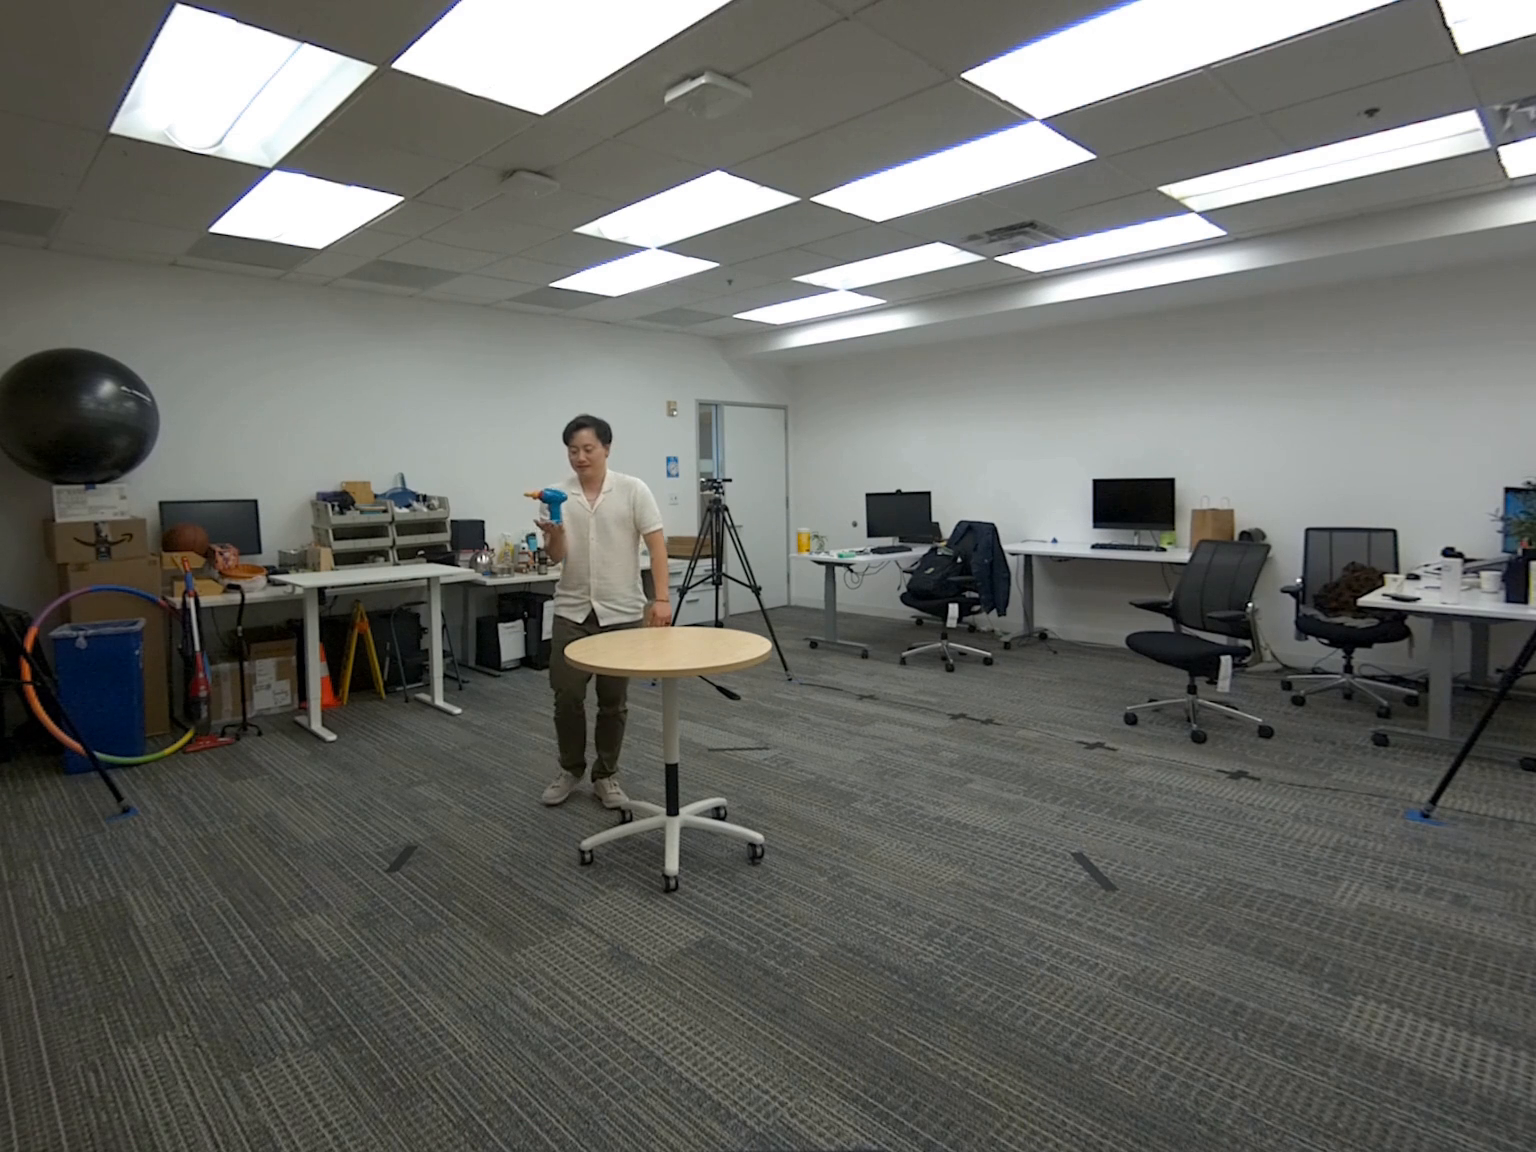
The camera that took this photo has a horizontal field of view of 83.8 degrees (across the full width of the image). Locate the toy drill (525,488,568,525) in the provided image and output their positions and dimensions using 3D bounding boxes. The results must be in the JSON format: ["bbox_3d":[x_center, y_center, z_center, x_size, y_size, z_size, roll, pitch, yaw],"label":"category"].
[{"bbox_3d":[-0.883,-0.271,3.338,0.169,0.145,0.062,5,5,-5],"label":"toy drill"}]
